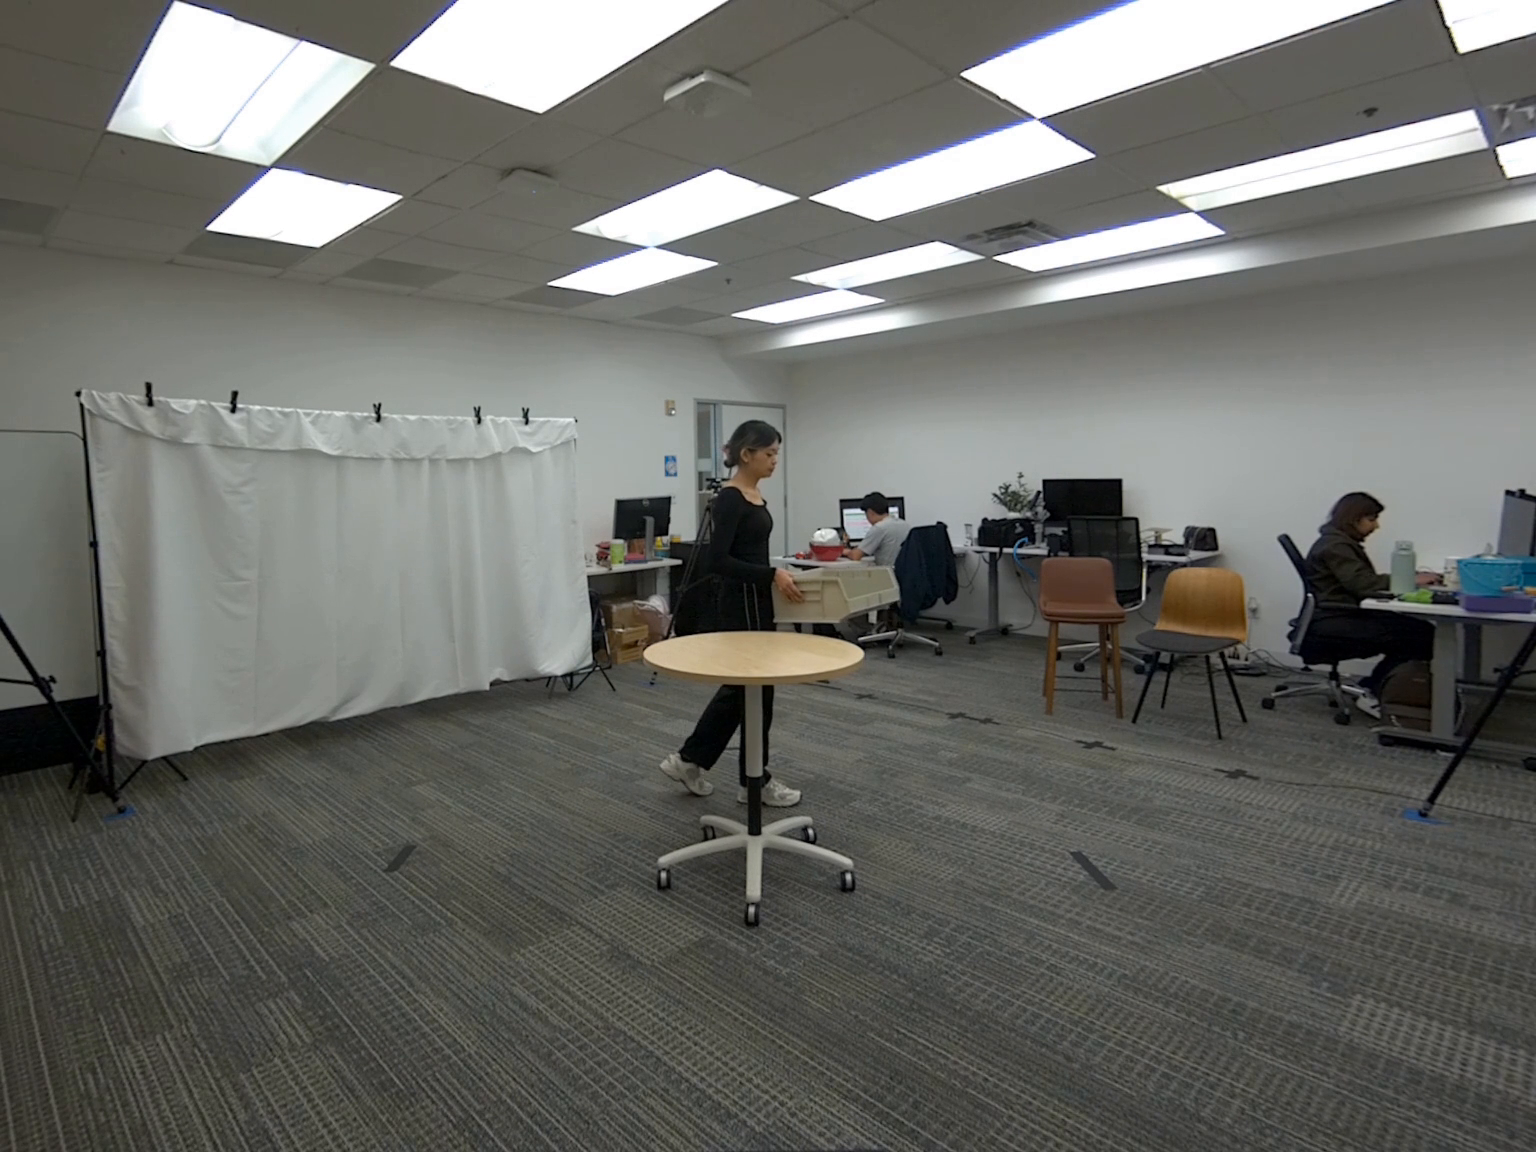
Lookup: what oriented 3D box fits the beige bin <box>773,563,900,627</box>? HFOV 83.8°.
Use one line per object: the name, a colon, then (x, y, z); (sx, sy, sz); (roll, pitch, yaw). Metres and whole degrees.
beige bin: (0.275, 0.072, 3.530); (0.388, 0.188, 0.412); (-2, 6, 39)
